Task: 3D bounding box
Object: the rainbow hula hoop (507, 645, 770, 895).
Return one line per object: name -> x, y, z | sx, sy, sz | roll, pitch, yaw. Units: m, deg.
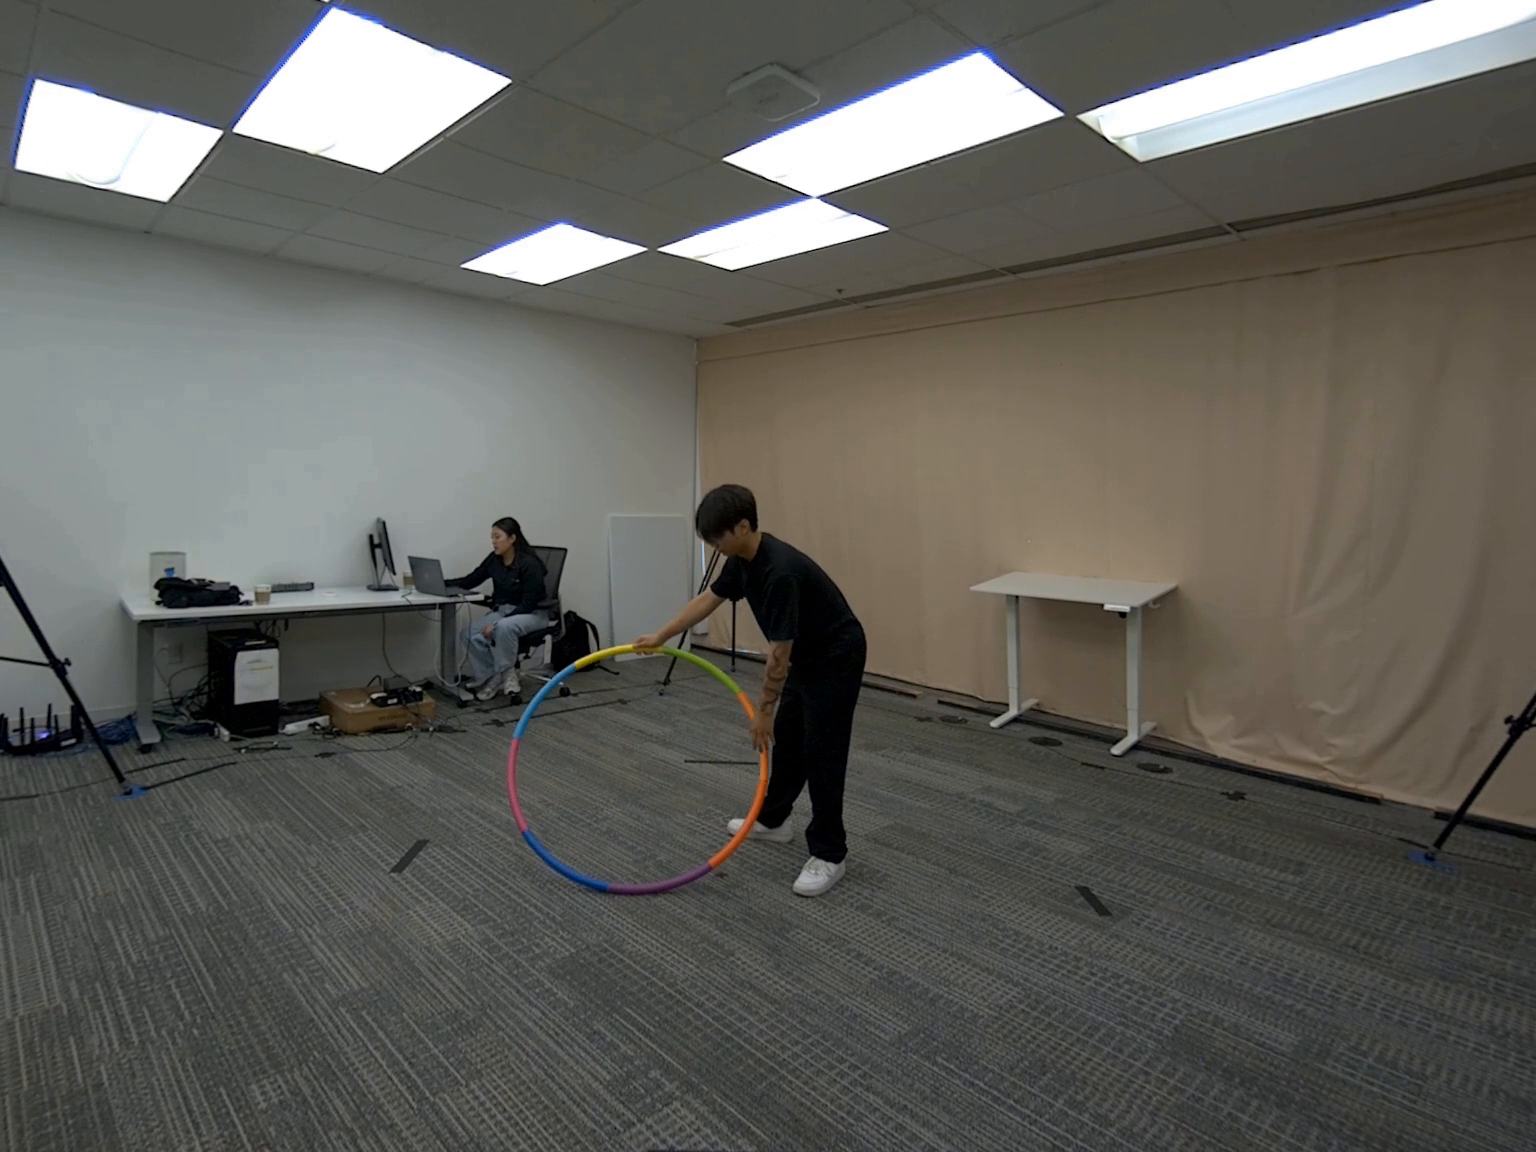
rainbow hula hoop -> -0.499, 0.702, 3.210 | 0.978, 0.999, 0.035 | 1, -35, -1
